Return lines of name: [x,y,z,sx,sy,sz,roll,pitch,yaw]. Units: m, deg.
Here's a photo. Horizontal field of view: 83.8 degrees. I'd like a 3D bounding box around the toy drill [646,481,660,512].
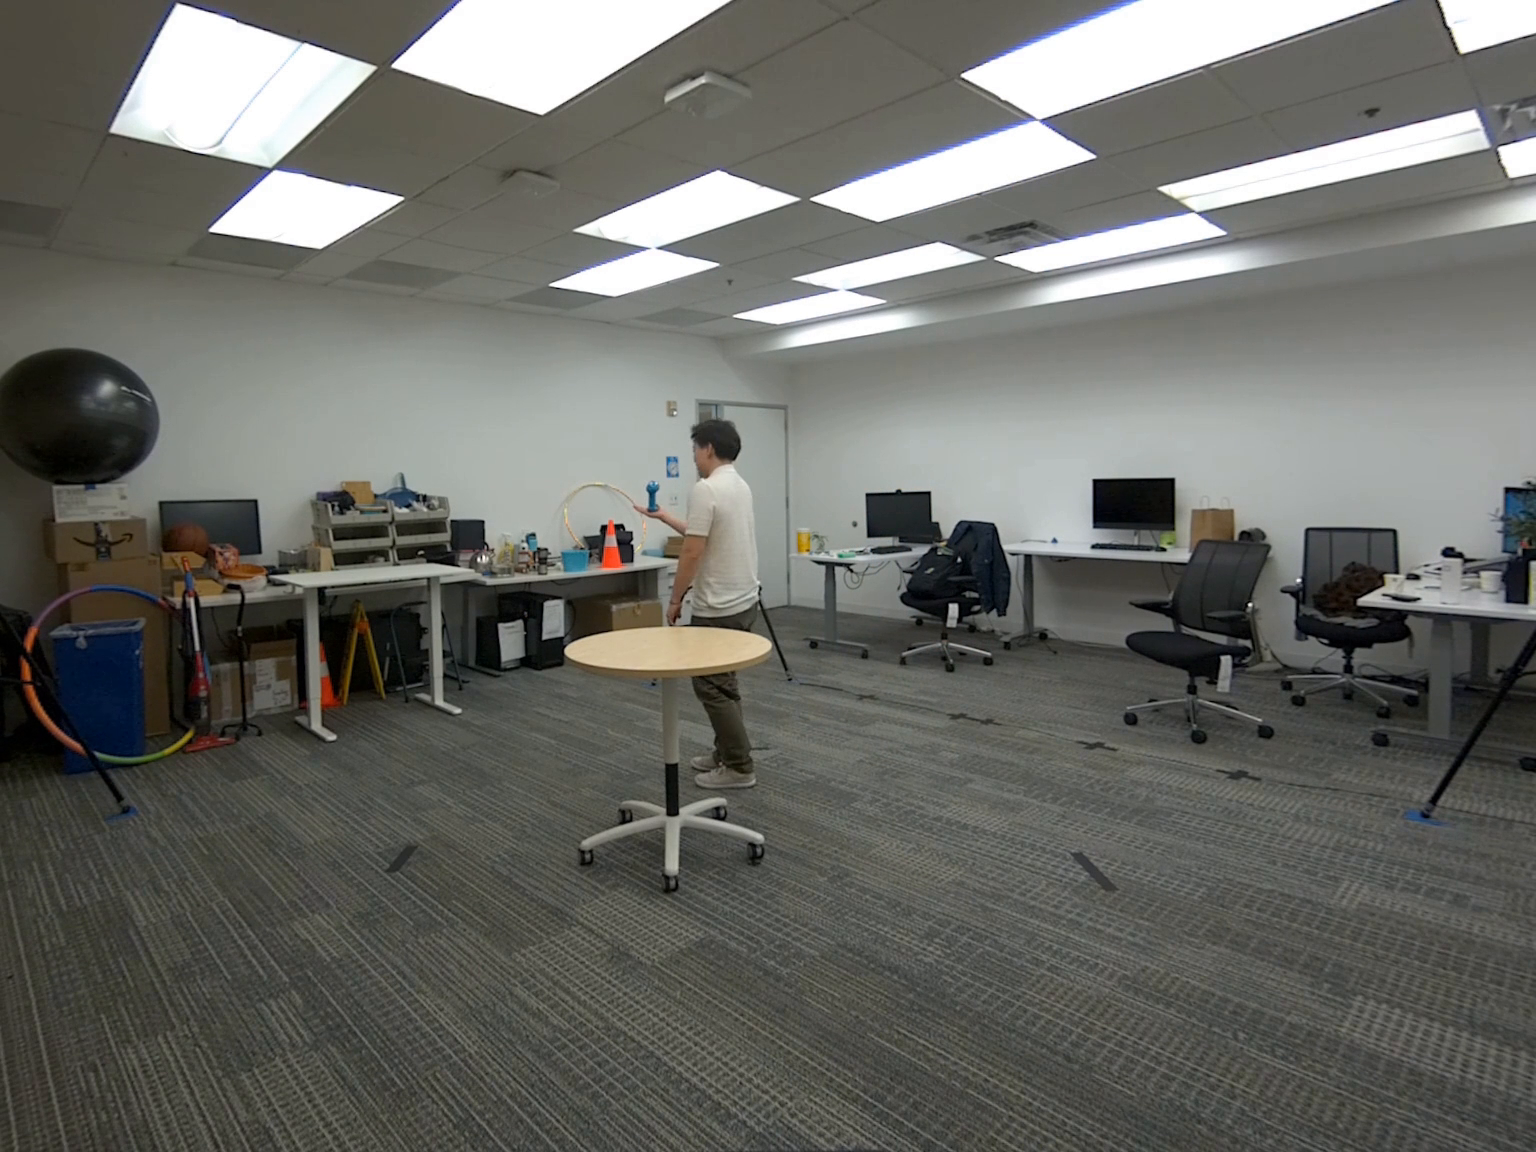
toy drill: [-0.563,-0.401,4.187,0.061,0.144,0.171,1,15,4]
